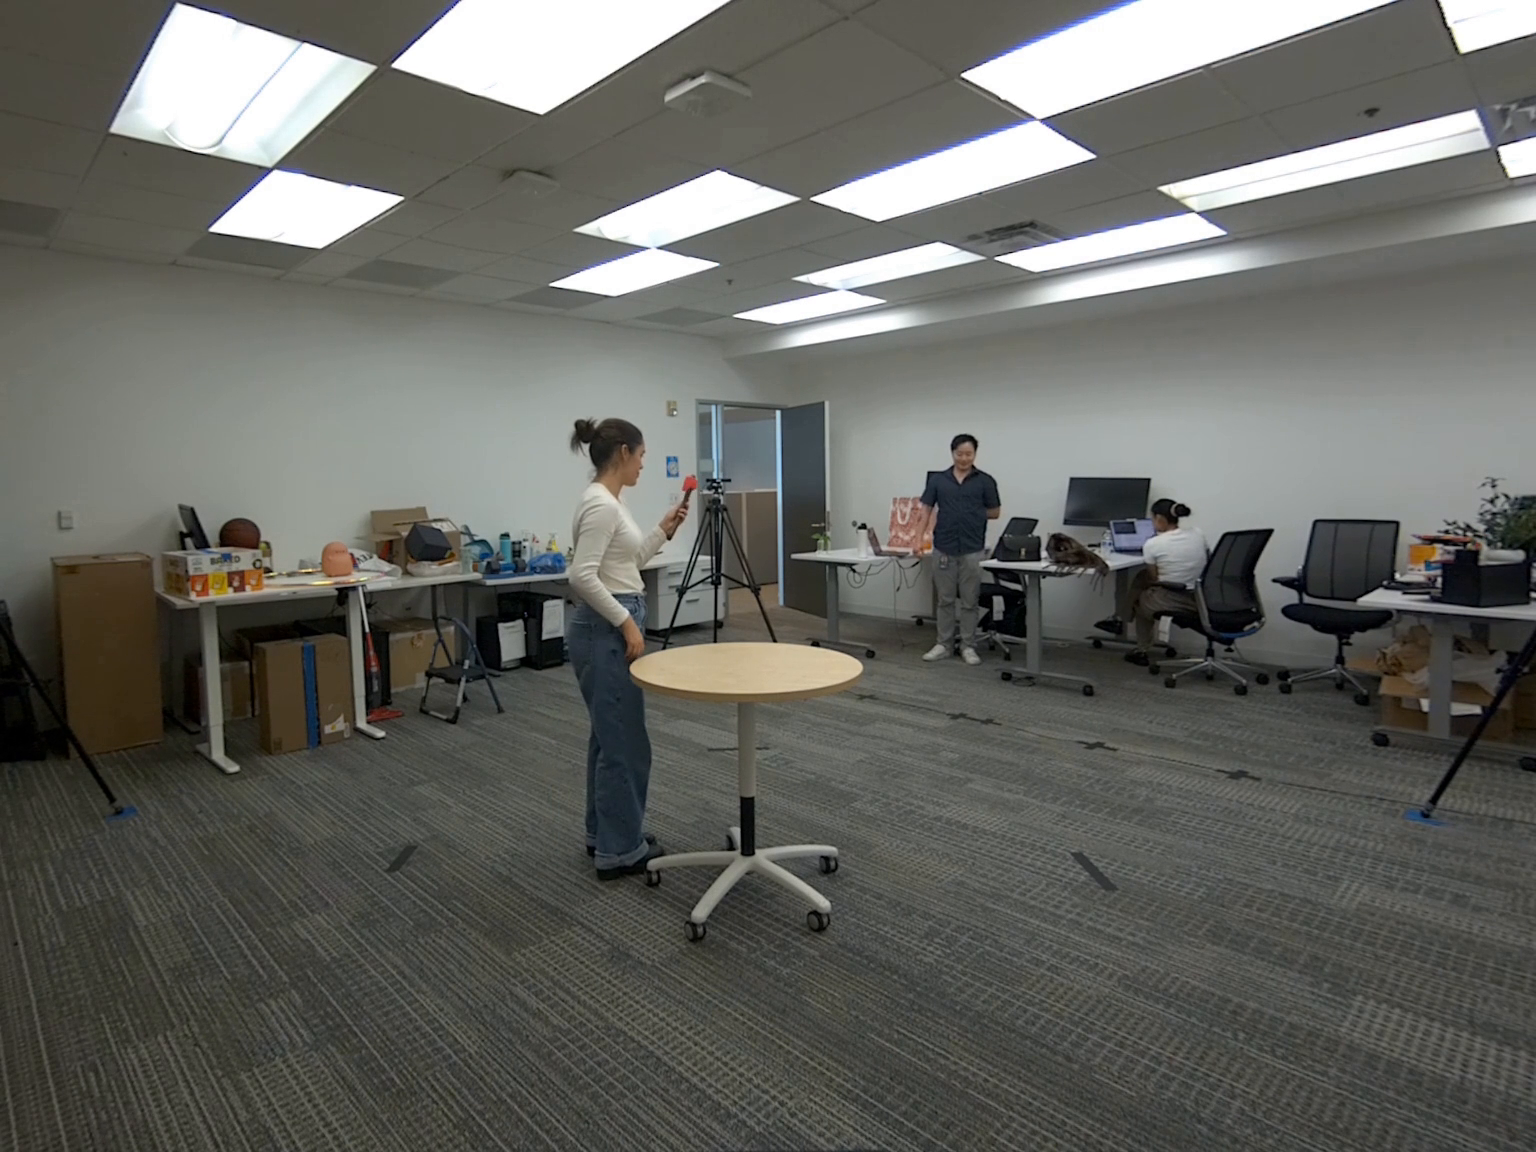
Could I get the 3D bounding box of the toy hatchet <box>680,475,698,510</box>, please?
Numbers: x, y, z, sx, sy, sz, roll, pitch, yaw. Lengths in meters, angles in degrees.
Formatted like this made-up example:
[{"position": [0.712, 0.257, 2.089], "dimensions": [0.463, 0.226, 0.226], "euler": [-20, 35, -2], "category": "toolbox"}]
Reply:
[{"position": [-0.325, -0.274, 3.235], "dimensions": [0.030, 0.273, 0.128], "euler": [17, -28, 9], "category": "toy hatchet"}]
